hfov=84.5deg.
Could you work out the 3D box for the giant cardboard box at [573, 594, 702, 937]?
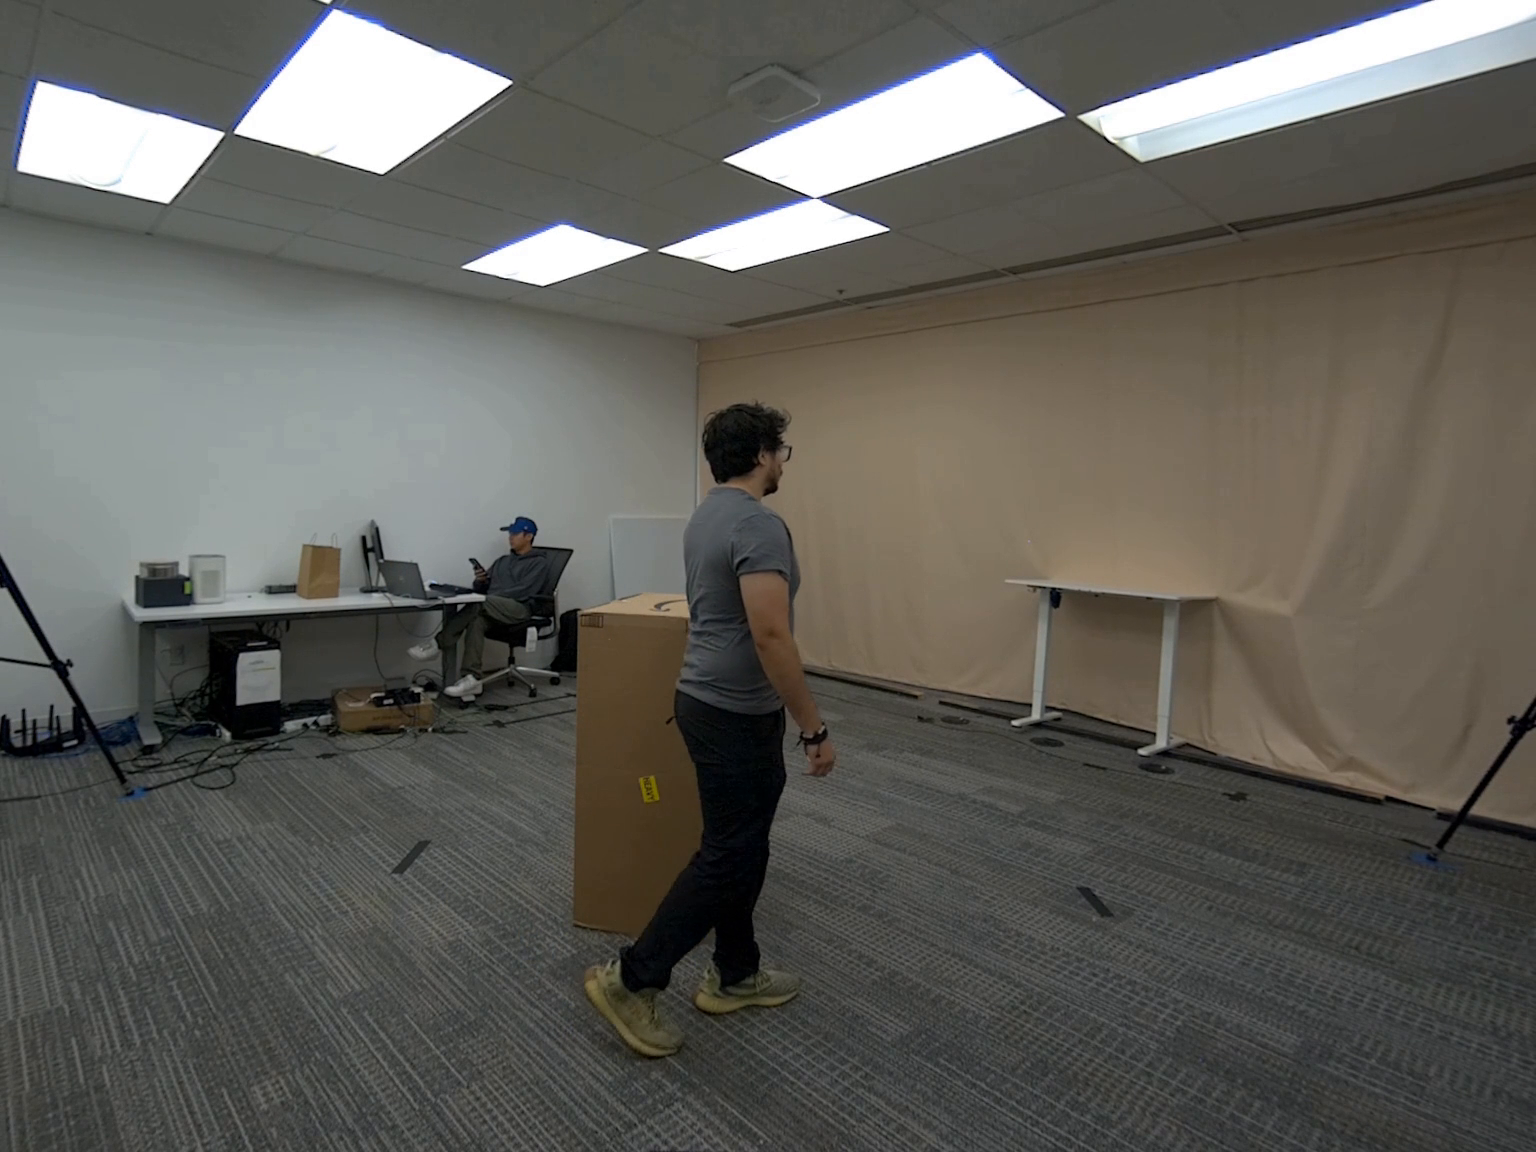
[{"bbox_3d":[-0.357,0.609,2.913,0.431,1.024,0.572,3,3,13],"label":"giant cardboard box"}]
